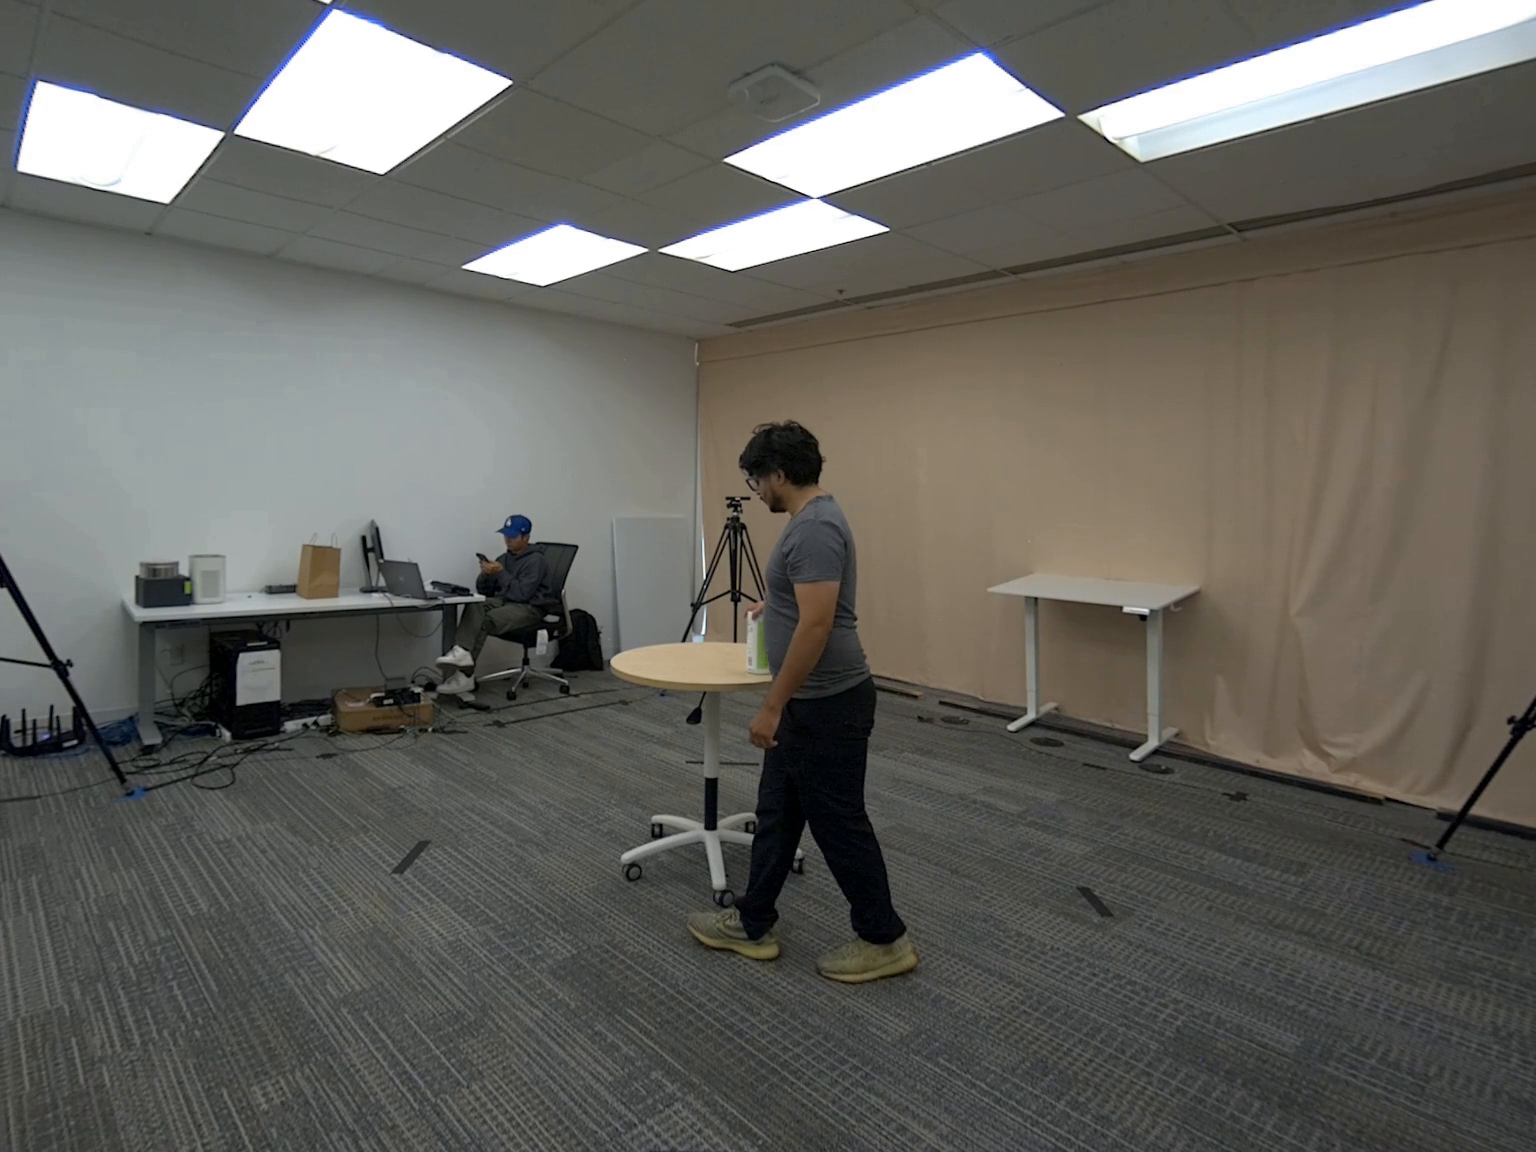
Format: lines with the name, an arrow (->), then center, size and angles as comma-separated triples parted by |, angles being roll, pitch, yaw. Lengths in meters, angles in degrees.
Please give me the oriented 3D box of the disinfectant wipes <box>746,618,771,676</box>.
disinfectant wipes -> -0.028, 0.234, 2.960 | 0.118, 0.217, 0.118 | 4, 5, -2
